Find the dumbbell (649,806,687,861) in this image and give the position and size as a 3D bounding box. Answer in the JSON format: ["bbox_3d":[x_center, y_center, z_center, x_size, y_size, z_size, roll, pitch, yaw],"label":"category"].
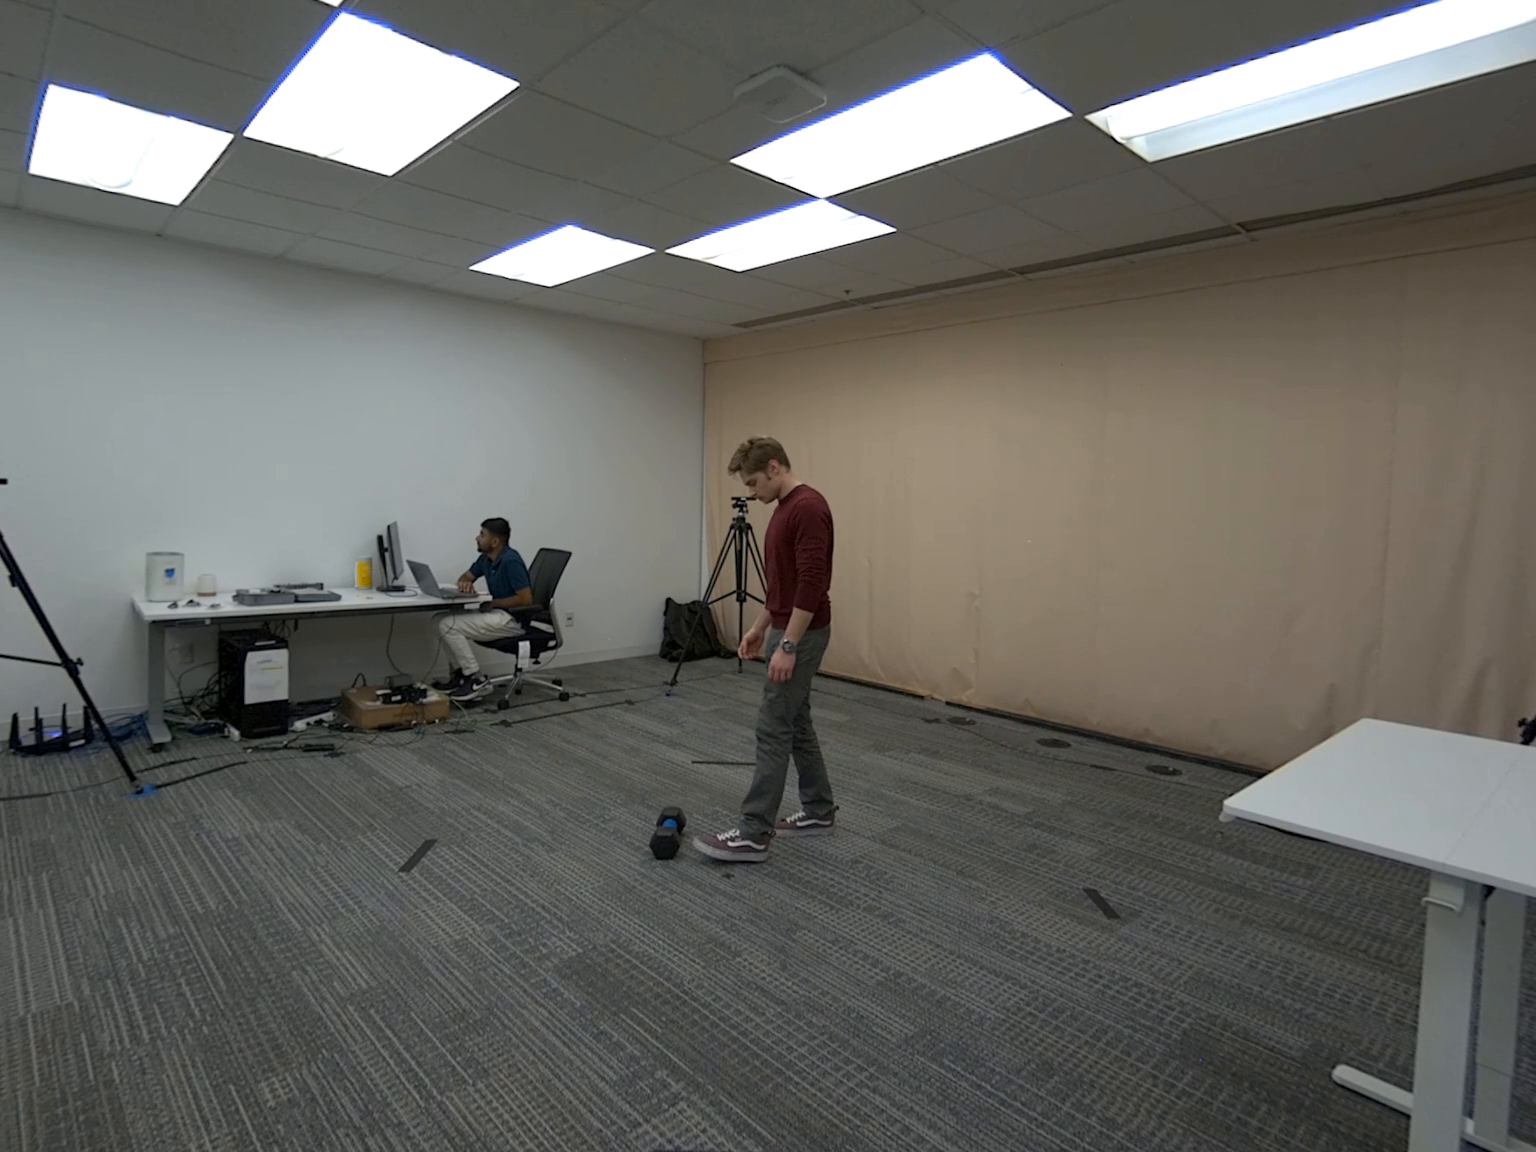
[{"bbox_3d":[-0.407,1.028,3.365,0.109,0.123,0.294,31,5,-1],"label":"dumbbell"}]
